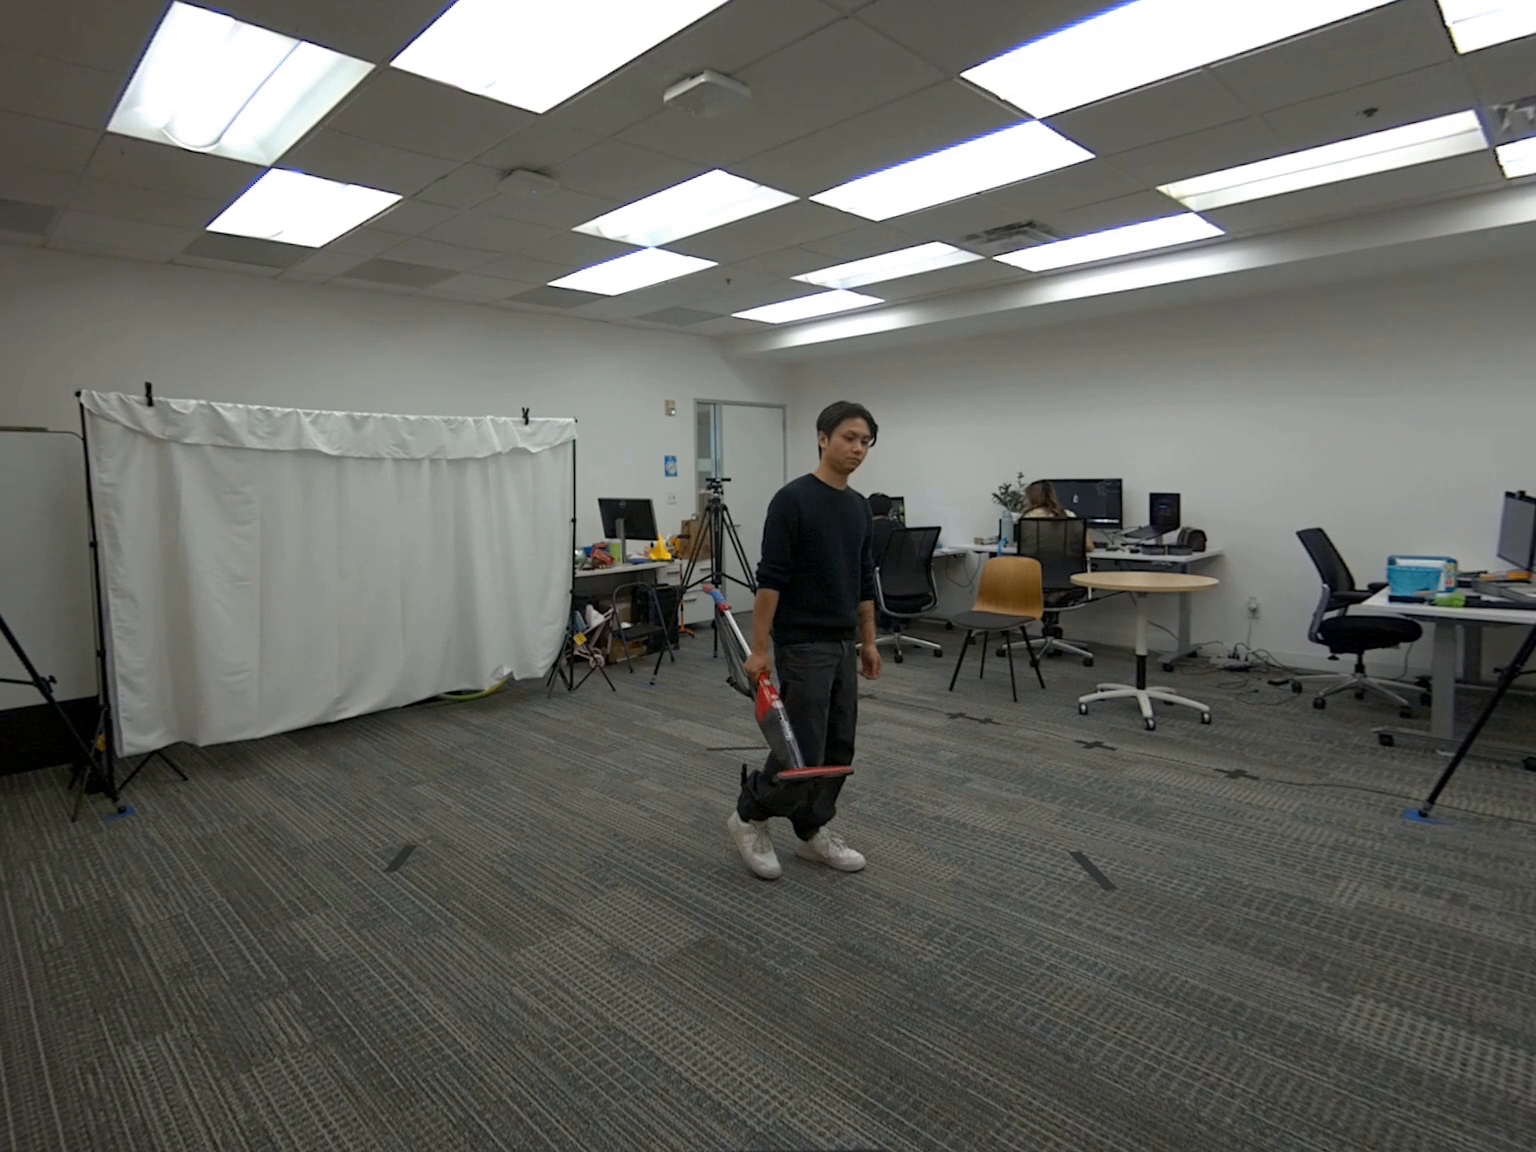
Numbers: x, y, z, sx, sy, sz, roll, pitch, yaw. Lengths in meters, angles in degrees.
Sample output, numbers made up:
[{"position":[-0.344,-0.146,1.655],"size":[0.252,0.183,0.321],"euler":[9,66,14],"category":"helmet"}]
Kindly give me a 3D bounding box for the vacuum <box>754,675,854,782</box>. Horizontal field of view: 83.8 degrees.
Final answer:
[{"position":[-0.070,0.334,3.002],"size":[0.247,0.141,1.090],"euler":[-1,32,-25],"category":"vacuum"}]
